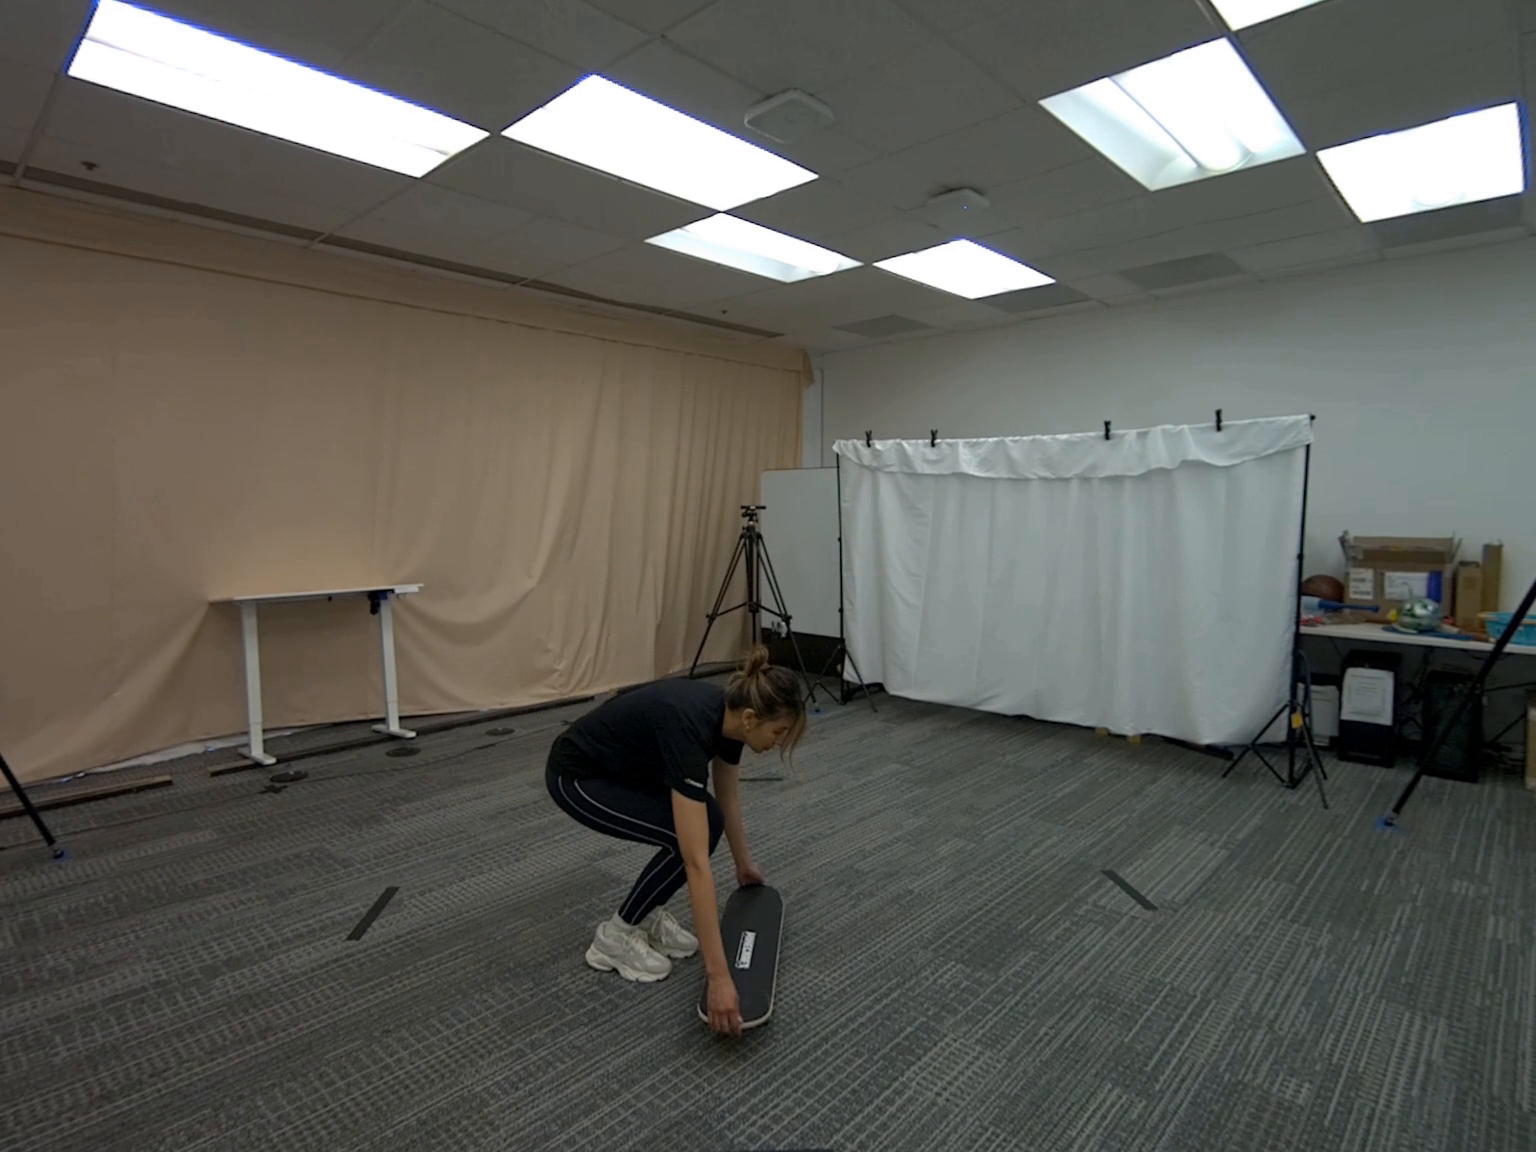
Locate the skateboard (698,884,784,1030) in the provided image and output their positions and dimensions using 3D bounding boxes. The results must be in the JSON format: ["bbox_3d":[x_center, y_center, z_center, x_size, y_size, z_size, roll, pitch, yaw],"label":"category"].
[{"bbox_3d":[-0.061,1.118,2.484,0.195,0.110,0.782,0,4,4],"label":"skateboard"}]
